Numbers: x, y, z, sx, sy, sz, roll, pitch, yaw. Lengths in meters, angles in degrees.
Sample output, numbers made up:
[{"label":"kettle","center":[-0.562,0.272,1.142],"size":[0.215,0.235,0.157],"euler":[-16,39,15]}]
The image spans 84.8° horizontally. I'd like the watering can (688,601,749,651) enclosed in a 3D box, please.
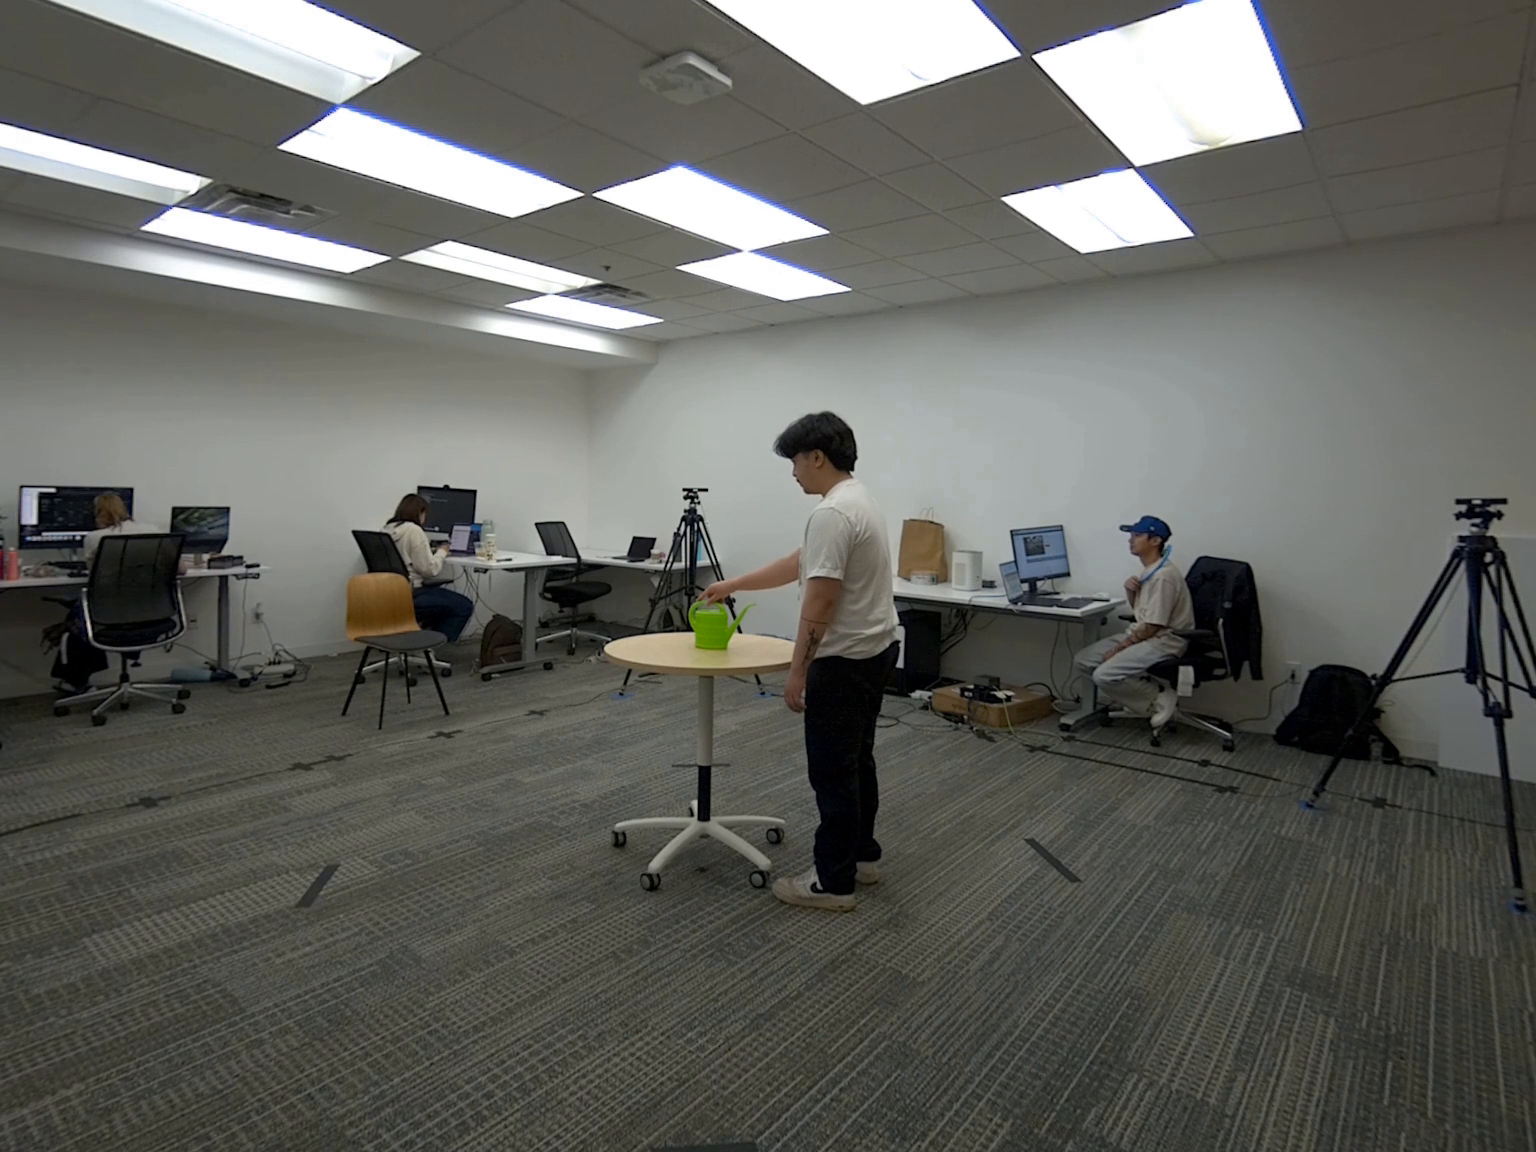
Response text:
[{"label":"watering can","center":[-0.192,0.180,3.189],"size":[0.287,0.176,0.095],"euler":[1,2,34]}]
